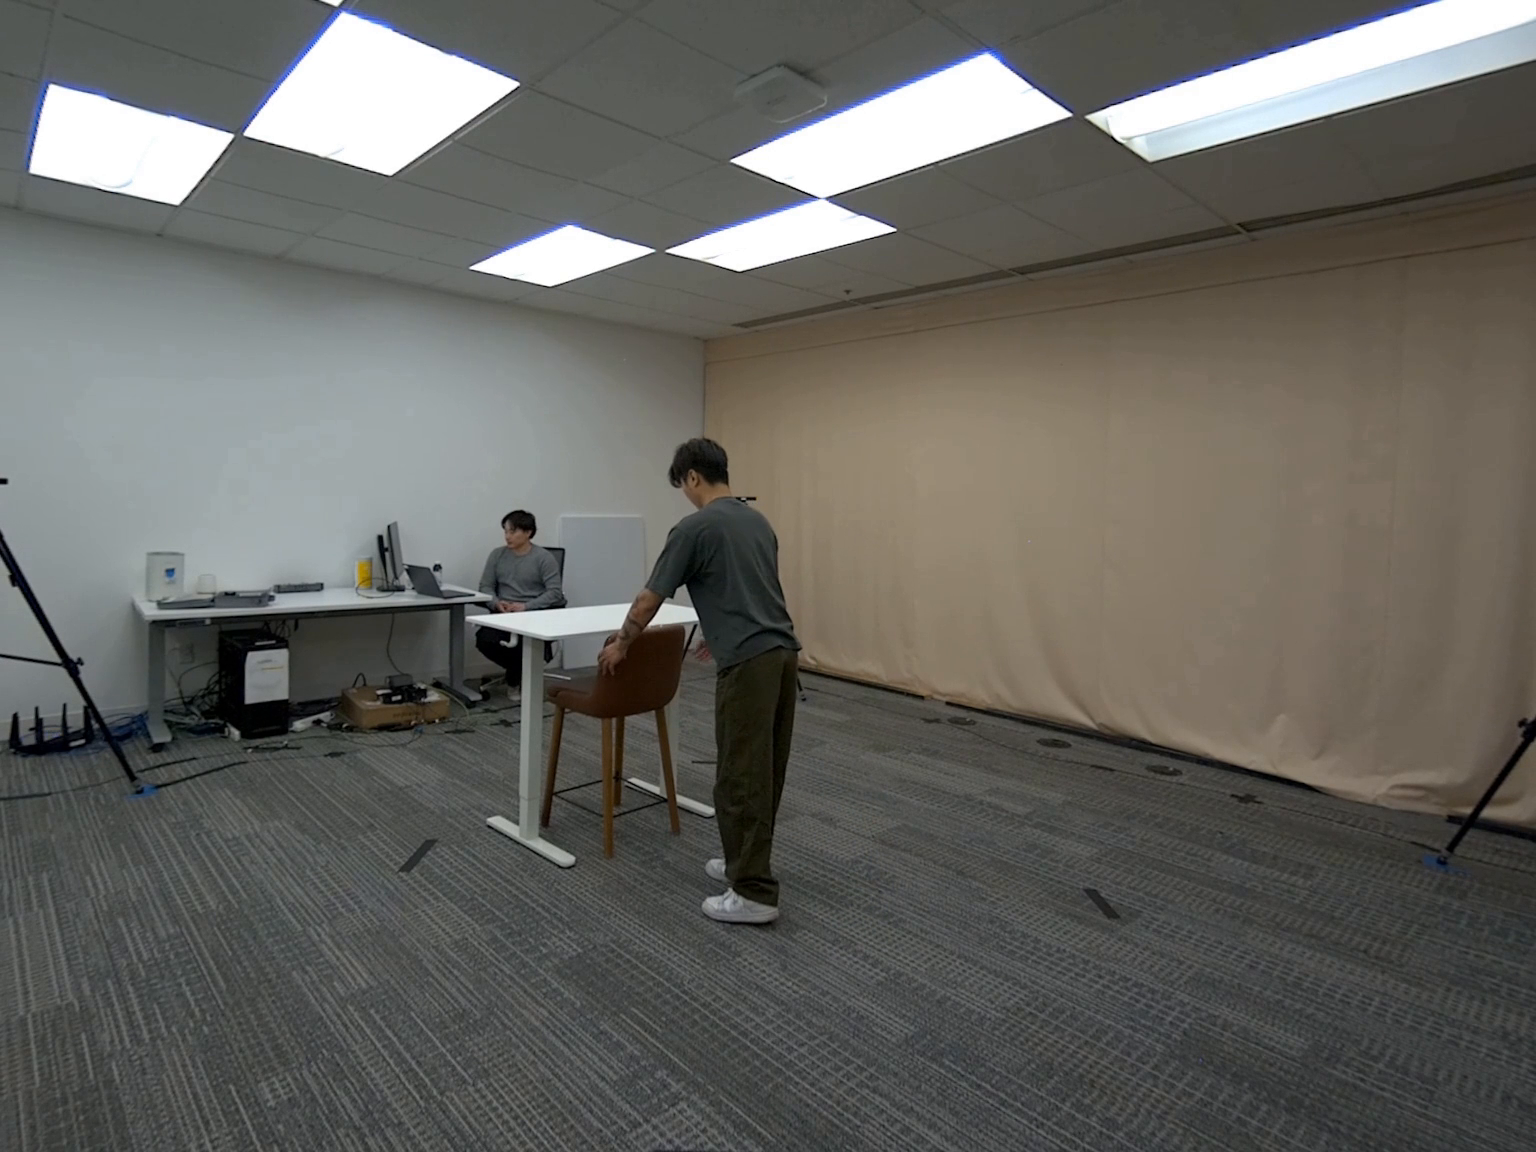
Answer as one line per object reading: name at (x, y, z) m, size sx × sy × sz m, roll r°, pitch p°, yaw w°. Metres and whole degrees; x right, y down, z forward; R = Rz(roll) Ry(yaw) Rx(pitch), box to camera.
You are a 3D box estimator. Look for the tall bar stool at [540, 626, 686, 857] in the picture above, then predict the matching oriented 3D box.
tall bar stool at (-0.640, 0.628, 3.485) m, size 0.480 × 0.886 × 0.446 m, roll 8°, pitch 7°, yaw 43°
